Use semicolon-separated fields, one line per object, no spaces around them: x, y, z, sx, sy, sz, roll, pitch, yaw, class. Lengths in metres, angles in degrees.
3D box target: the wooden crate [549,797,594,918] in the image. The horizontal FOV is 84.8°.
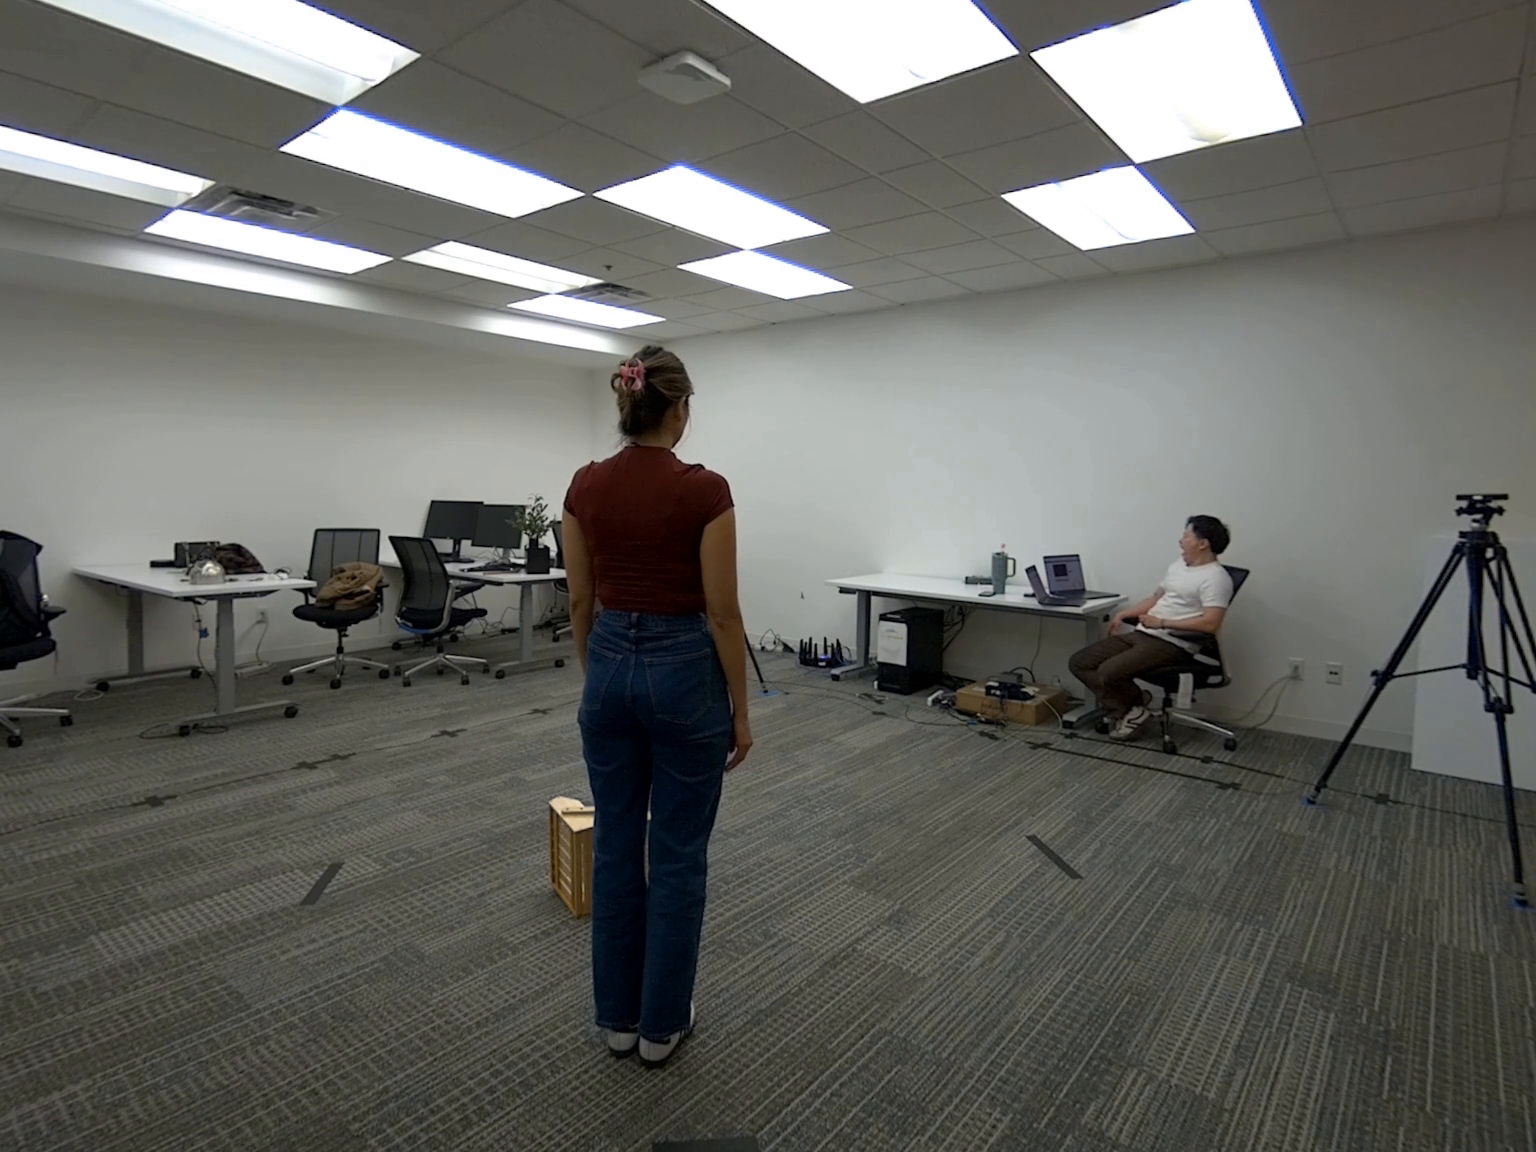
-0.571;0.919;2.854;0.266;0.321;0.313;-6;12;-32;wooden crate
